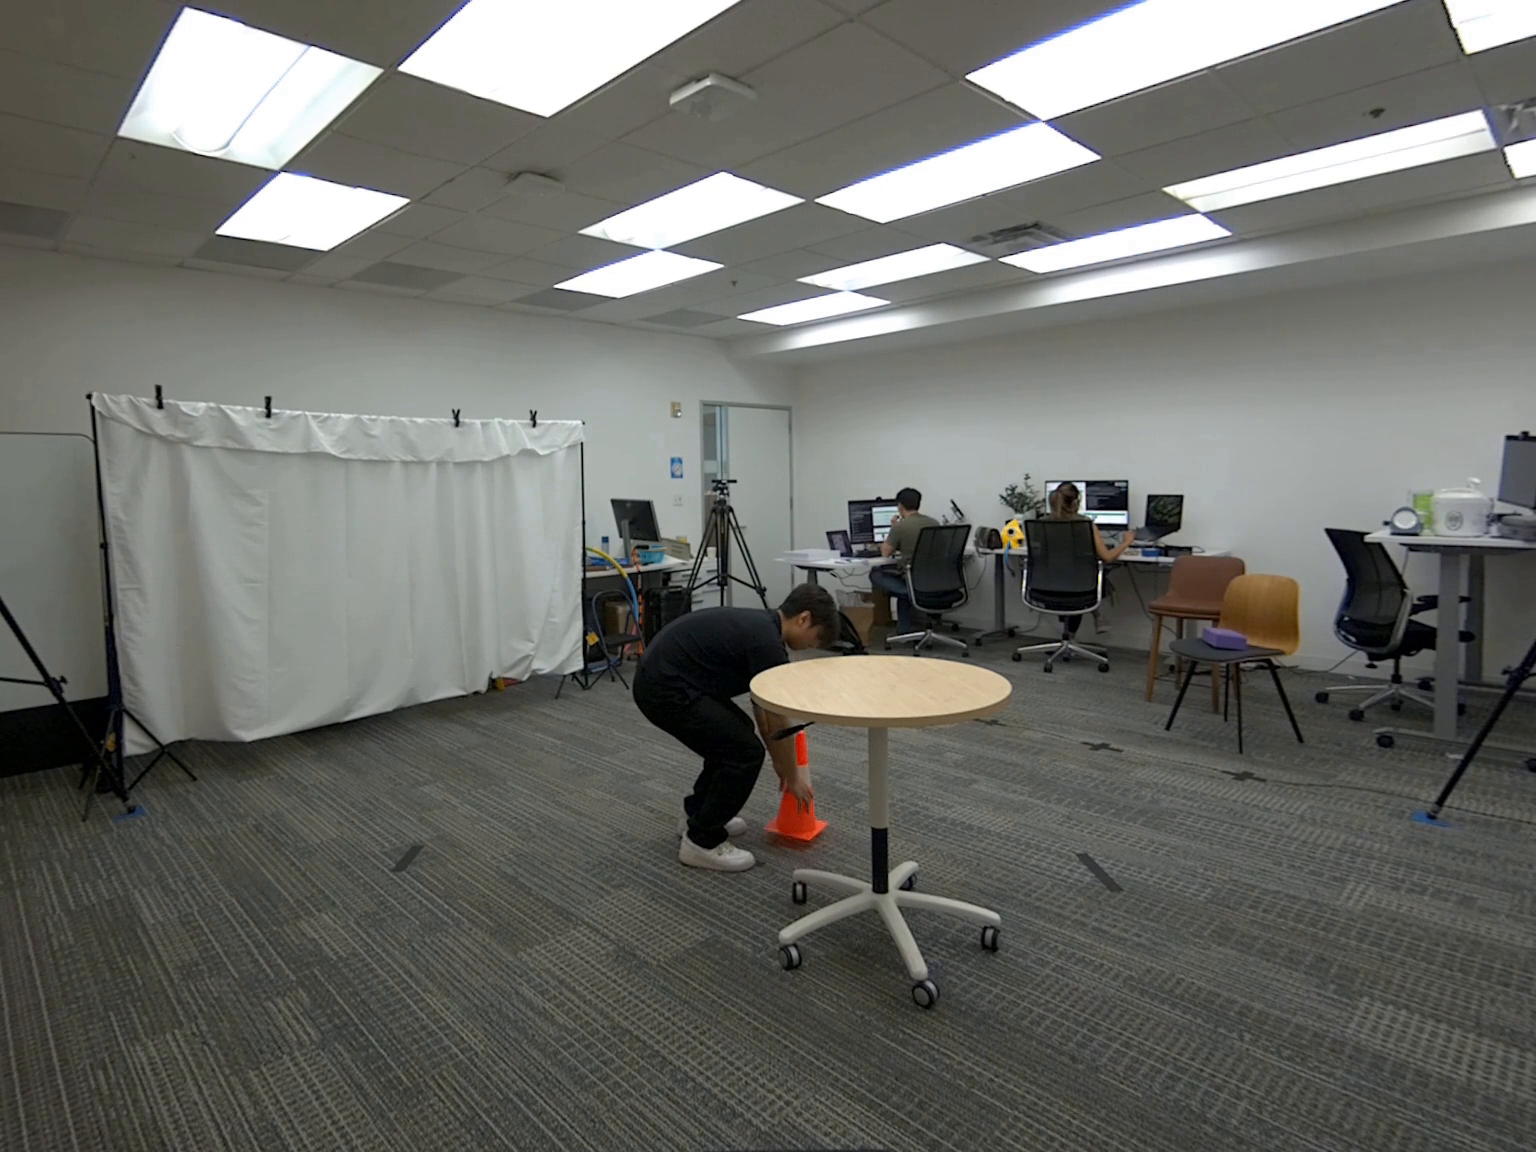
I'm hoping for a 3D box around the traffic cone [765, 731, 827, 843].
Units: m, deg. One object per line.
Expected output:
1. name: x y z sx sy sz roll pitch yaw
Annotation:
1. traffic cone: 0.120 0.792 3.324 0.211 0.382 0.198 5 7 32
